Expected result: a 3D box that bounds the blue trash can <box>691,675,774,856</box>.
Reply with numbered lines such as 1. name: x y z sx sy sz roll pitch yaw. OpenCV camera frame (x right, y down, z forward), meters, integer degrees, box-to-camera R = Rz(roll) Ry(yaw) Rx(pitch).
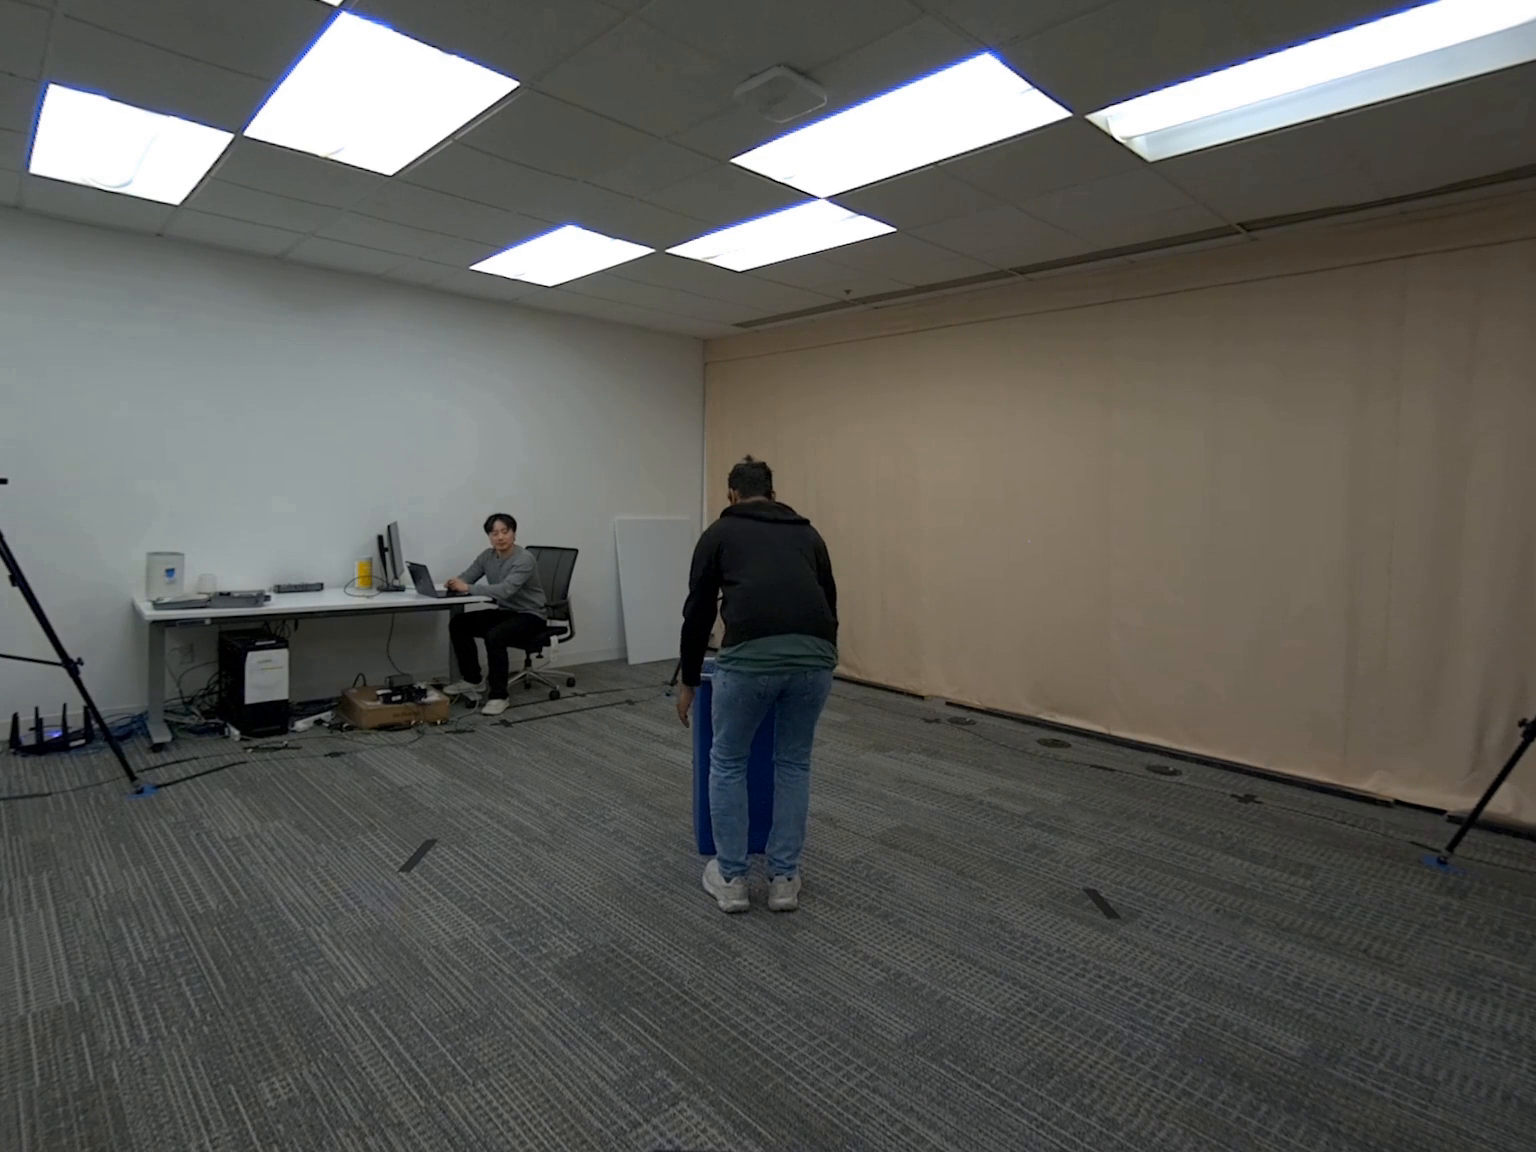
1. blue trash can: -0.144 0.725 3.439 0.375 0.713 0.377 2 2 -9
